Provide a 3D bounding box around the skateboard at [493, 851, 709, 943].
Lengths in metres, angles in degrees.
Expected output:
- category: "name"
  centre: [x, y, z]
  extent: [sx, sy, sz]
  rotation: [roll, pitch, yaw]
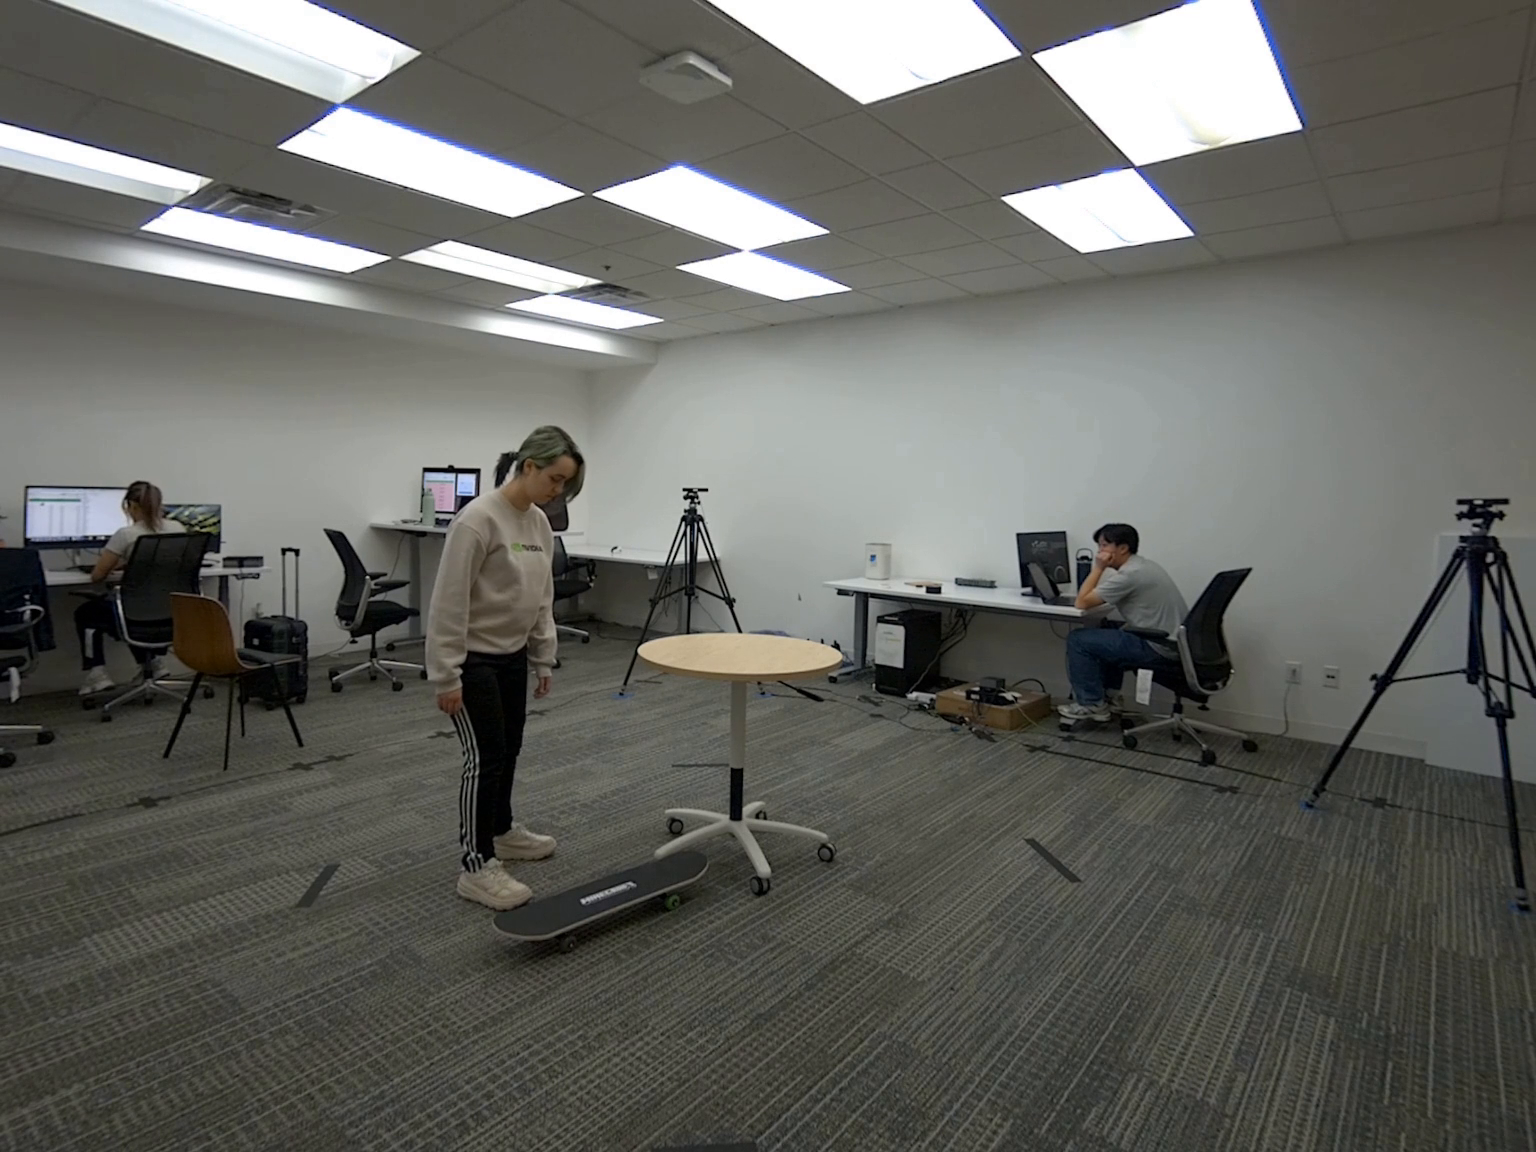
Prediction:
- category: "skateboard"
  centre: [-0.520, 1.046, 2.734]
  extent: [0.762, 0.110, 0.200]
  rotation: [-5, 8, -43]
